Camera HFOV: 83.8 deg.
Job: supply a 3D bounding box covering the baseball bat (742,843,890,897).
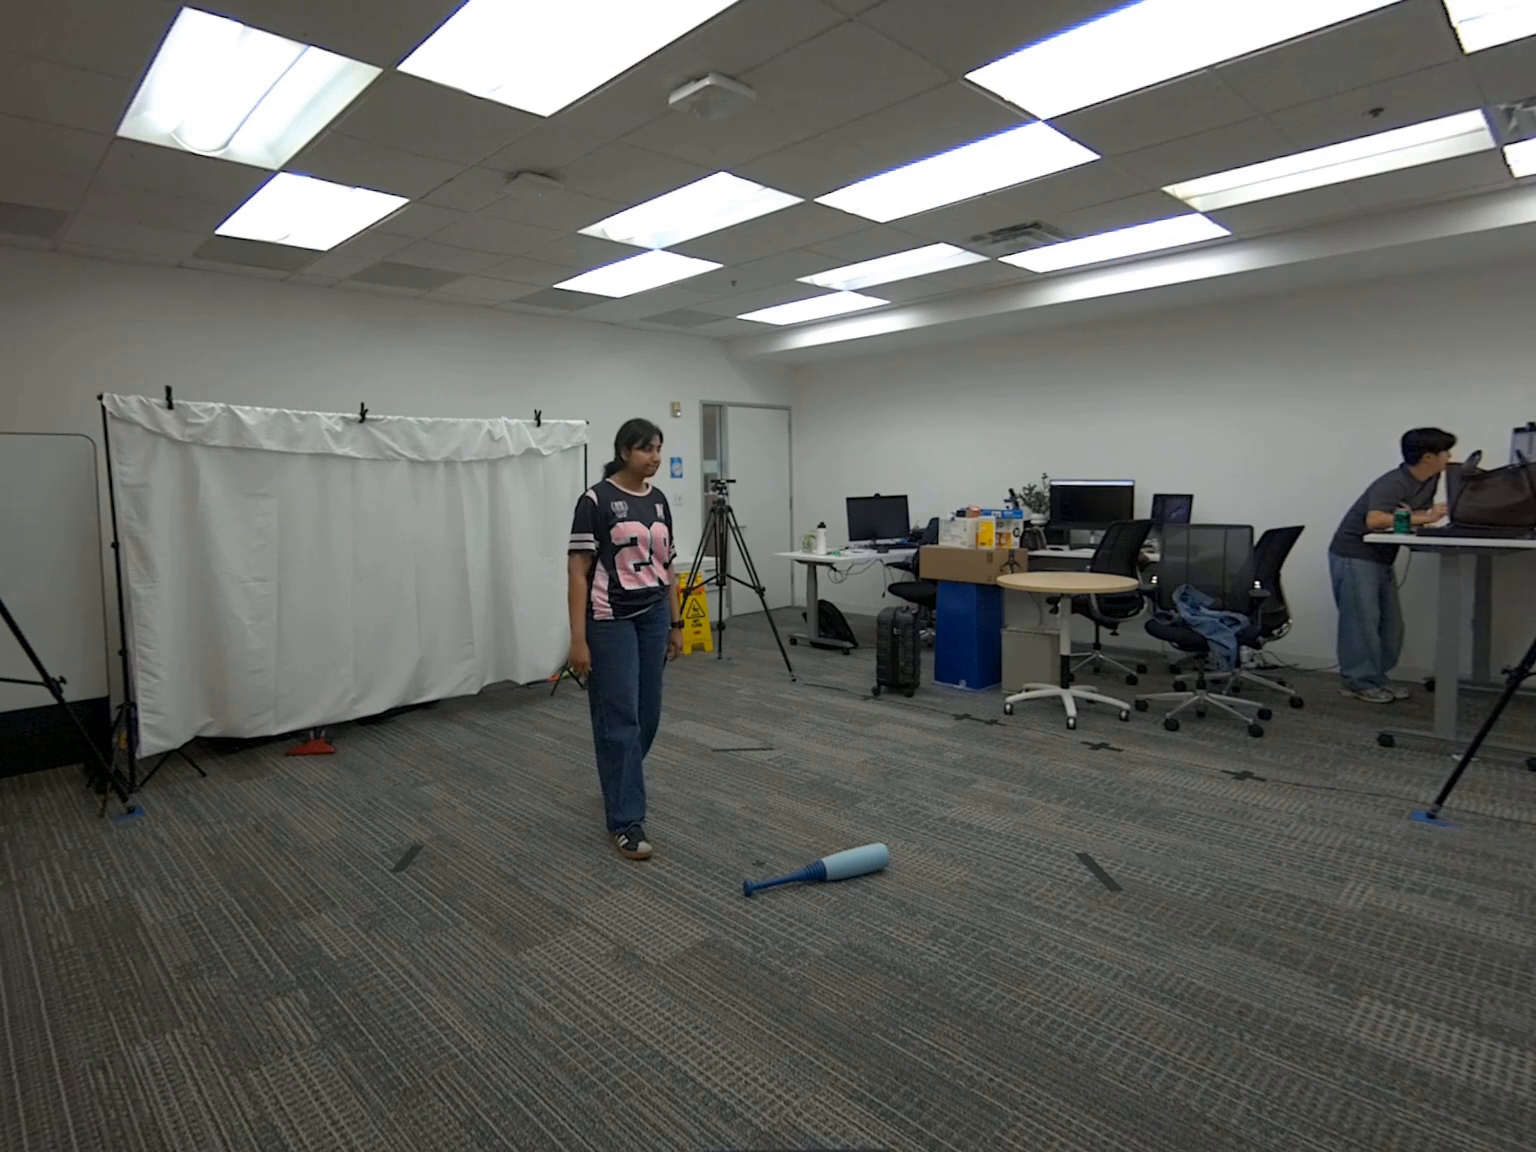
[{"bbox_3d":[0.166,1.025,2.965,0.534,0.088,0.091,-7,7,-19],"label":"baseball bat"}]
